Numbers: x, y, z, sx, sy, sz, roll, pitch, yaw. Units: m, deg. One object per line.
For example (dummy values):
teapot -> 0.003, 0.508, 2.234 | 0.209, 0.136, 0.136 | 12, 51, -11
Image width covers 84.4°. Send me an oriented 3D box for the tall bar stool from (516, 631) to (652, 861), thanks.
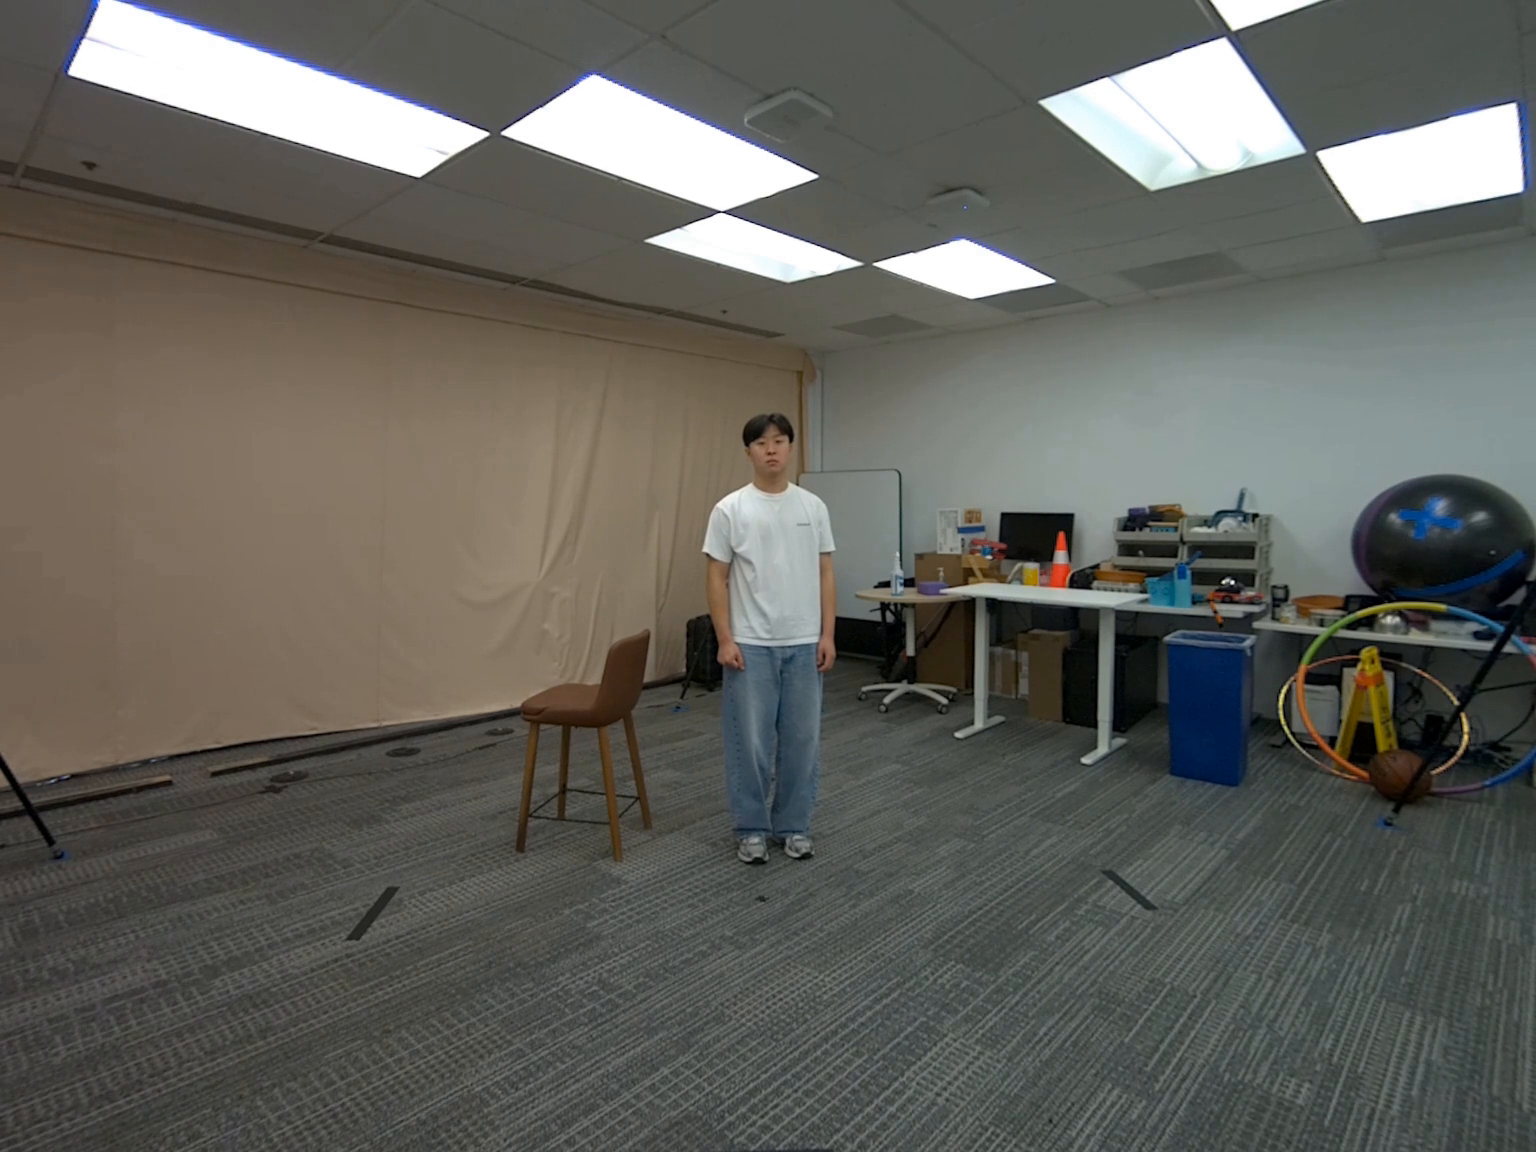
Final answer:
tall bar stool -> -0.754, 0.668, 3.519 | 0.475, 0.888, 0.450 | 2, 4, 14
